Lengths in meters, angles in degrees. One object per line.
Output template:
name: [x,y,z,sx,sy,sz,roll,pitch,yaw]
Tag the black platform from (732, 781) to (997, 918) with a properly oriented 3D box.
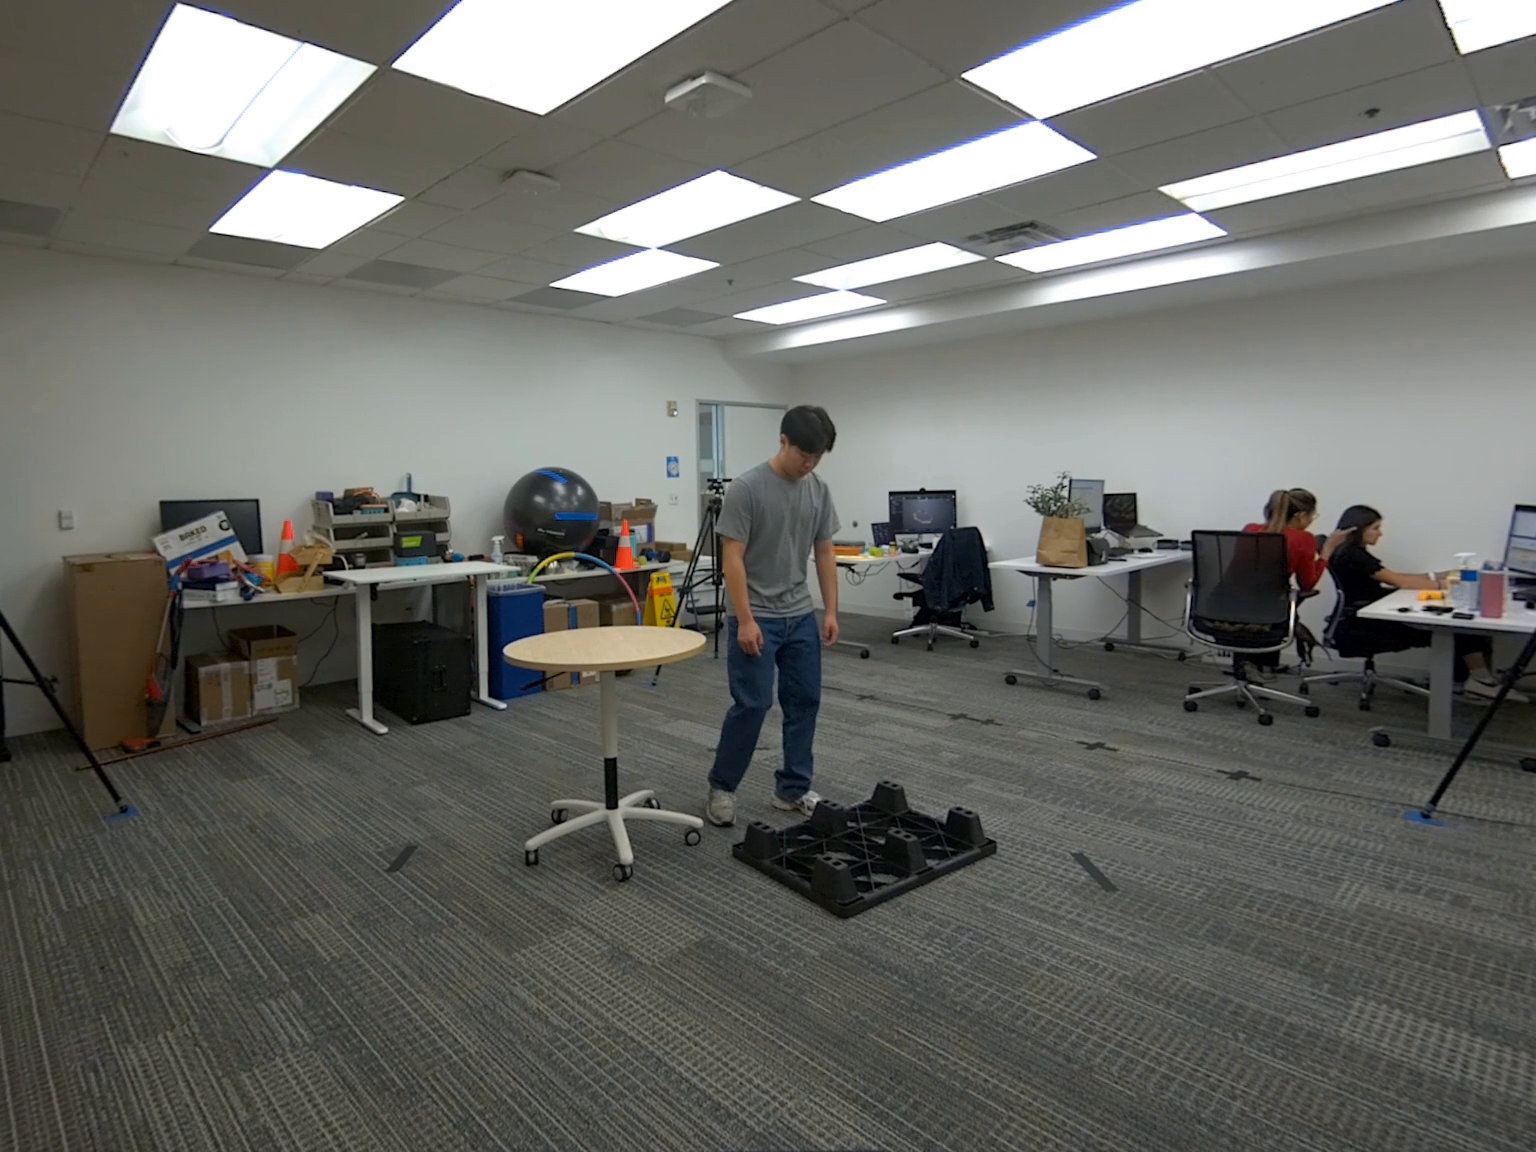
black platform: [0.360,0.968,3.166,0.785,0.142,0.624,-6,8,-38]
